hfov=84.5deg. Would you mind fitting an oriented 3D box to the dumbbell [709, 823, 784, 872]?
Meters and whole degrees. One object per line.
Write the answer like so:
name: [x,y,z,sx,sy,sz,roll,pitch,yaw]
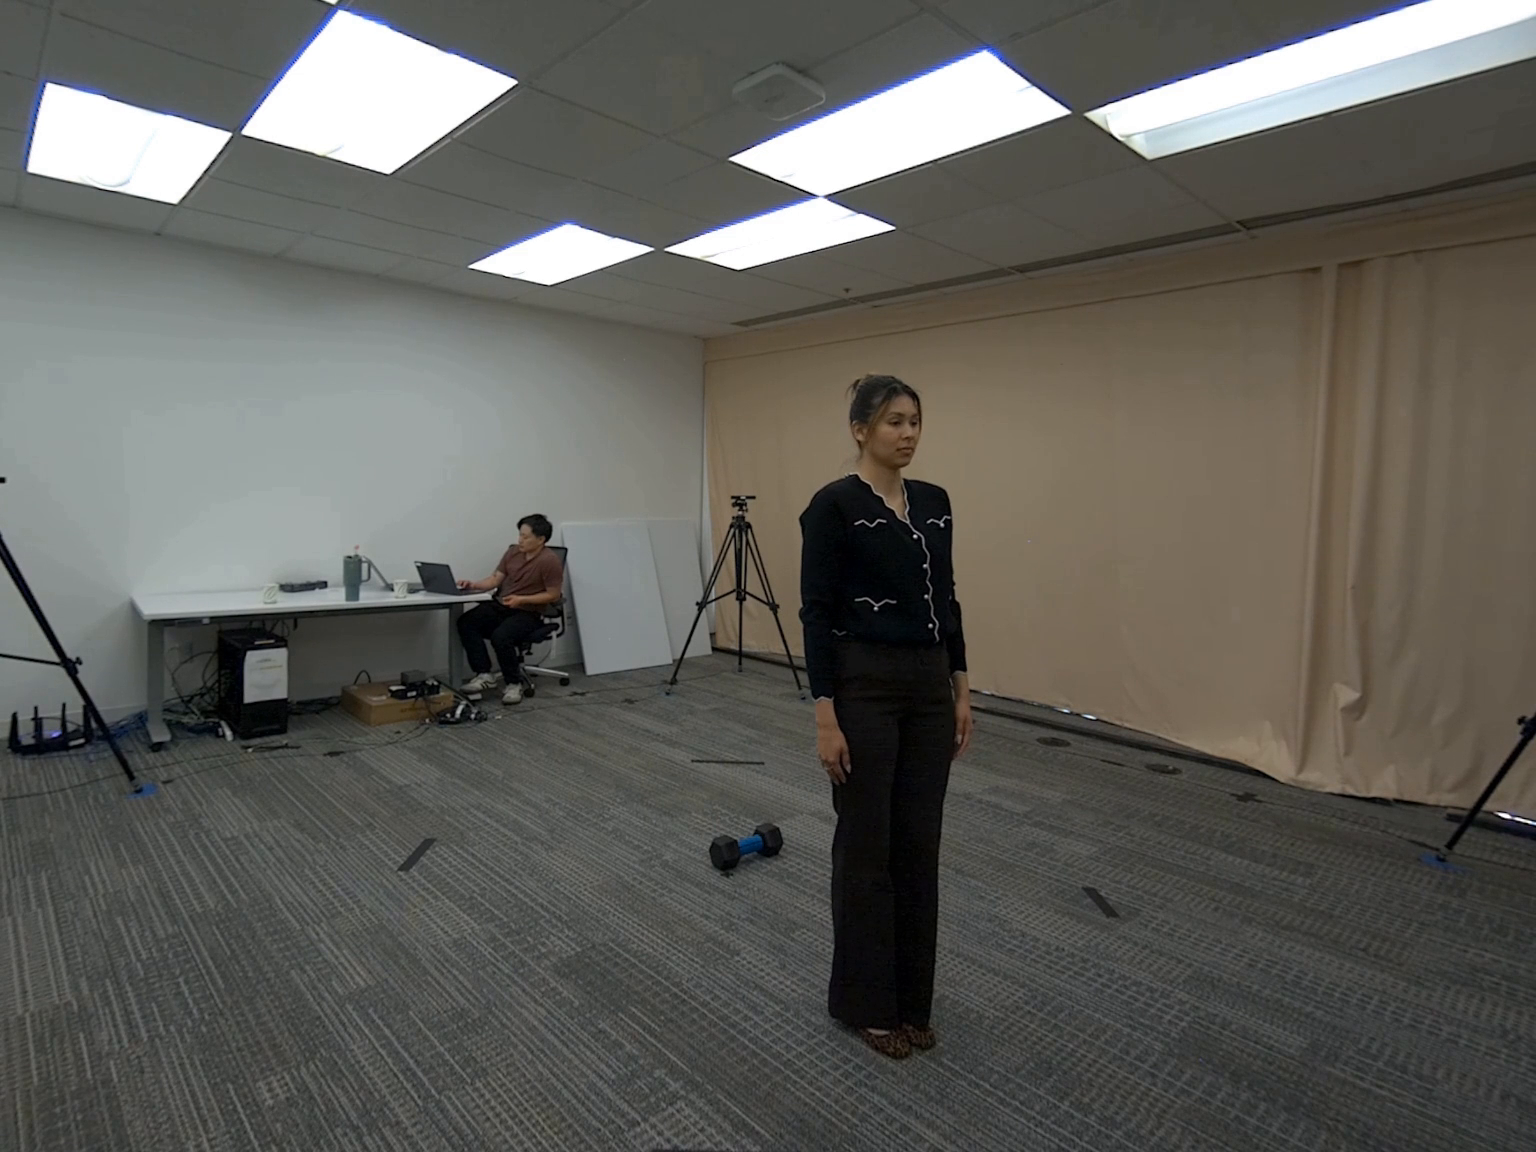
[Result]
dumbbell: [-0.088,1.038,3.229,0.287,0.108,0.126,-4,7,-40]
